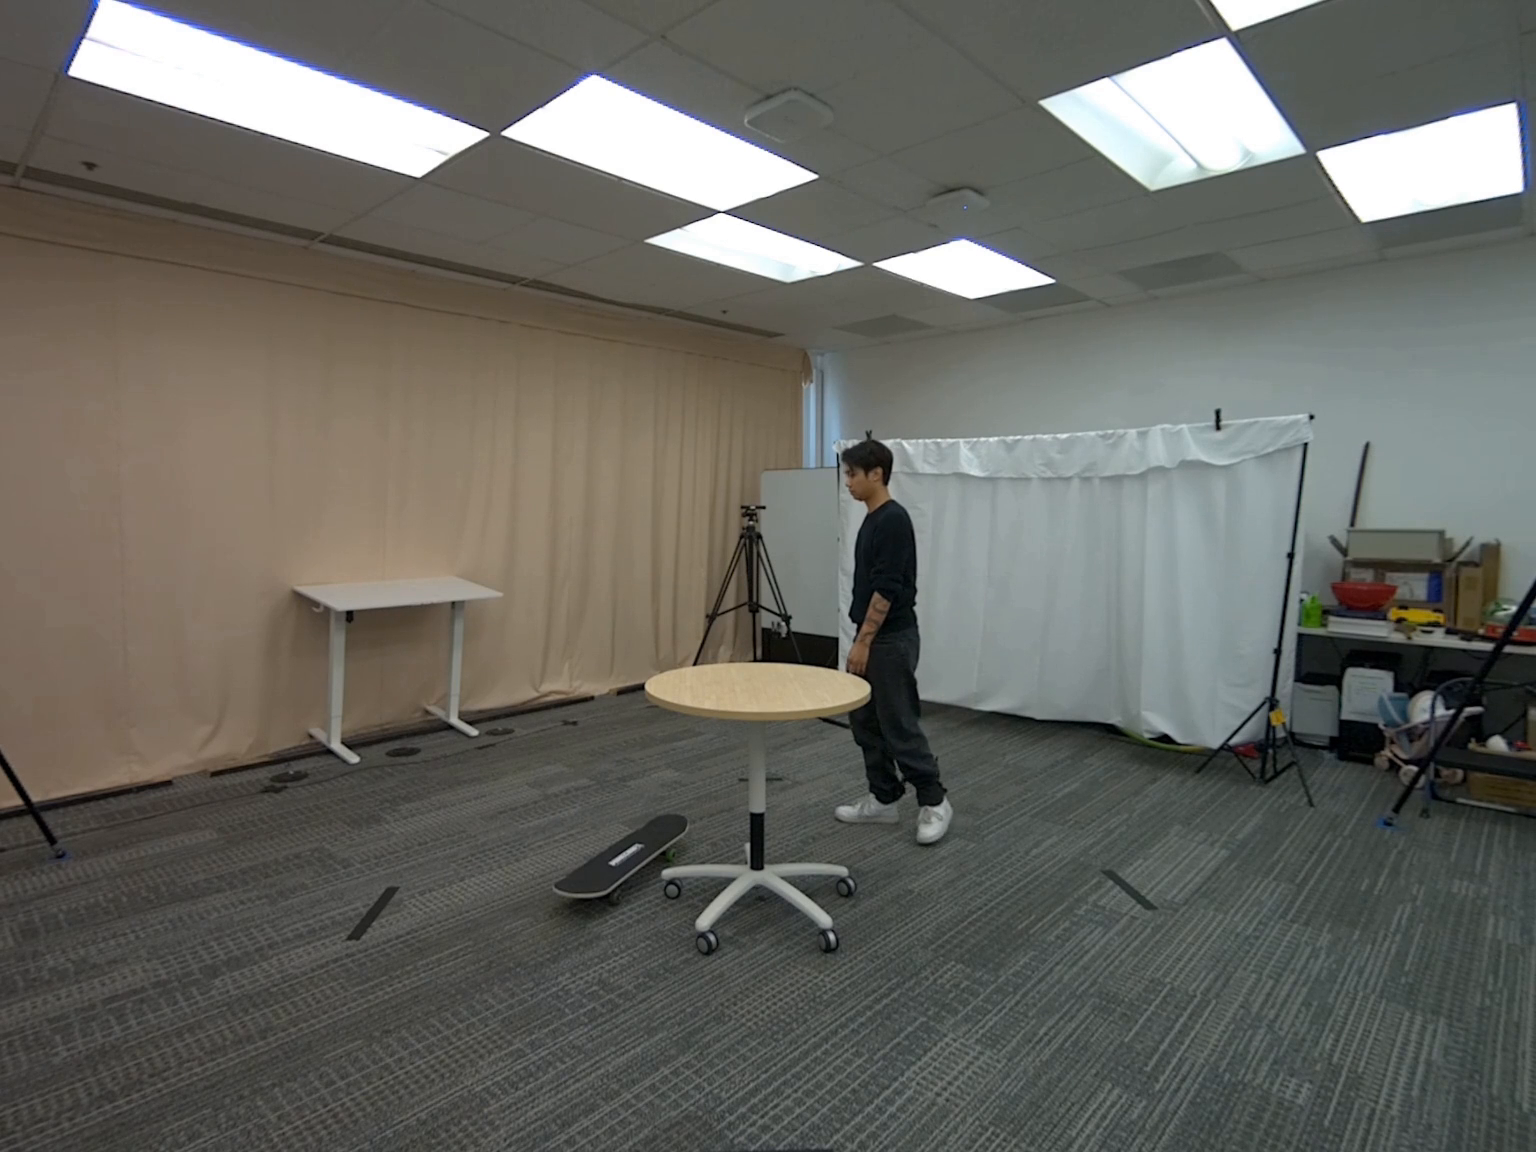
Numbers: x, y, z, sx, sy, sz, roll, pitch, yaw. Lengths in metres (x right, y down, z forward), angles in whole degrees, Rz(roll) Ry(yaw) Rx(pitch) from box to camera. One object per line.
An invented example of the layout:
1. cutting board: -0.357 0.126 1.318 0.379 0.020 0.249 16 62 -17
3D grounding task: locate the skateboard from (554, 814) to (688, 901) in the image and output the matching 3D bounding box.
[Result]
1. skateboard: -0.532 1.070 3.161 0.198 0.110 0.768 2 5 24
